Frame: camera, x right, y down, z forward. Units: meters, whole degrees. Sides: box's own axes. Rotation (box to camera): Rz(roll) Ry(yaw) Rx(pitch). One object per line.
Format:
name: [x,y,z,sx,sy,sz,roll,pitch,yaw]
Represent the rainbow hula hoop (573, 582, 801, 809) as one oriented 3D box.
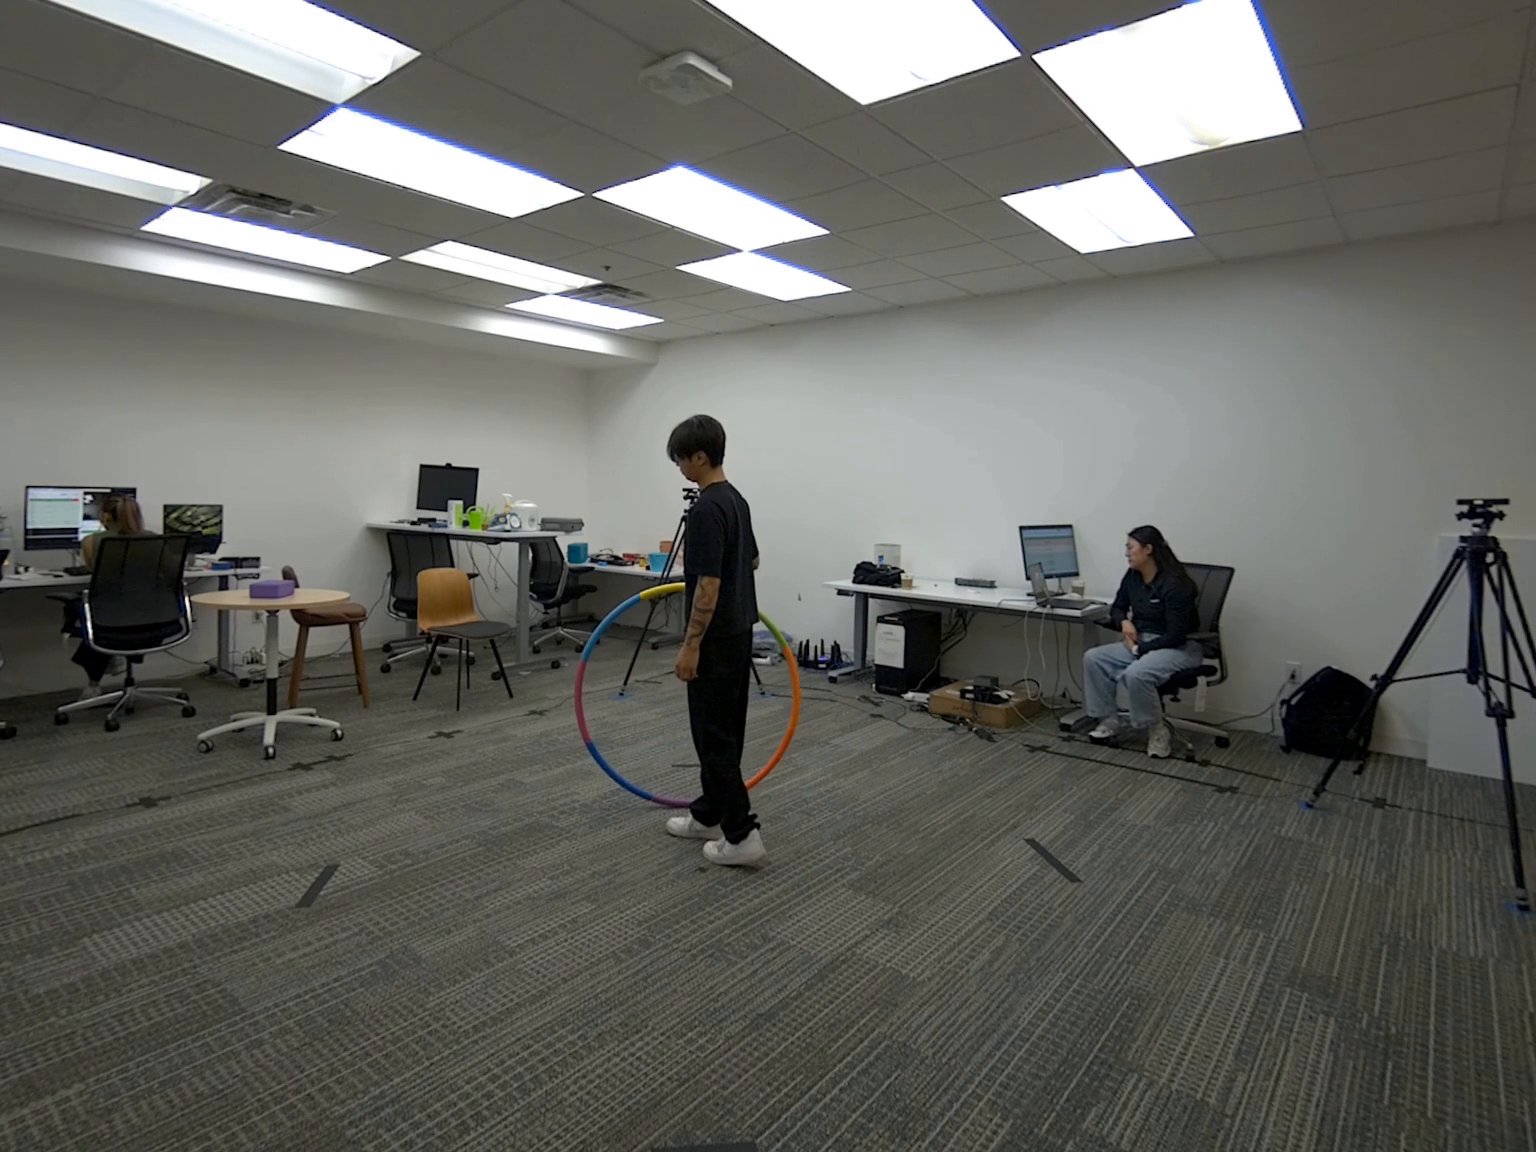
rainbow hula hoop: [-0.368,0.525,3.737,0.975,0.981,0.035,0,-3,-3]
